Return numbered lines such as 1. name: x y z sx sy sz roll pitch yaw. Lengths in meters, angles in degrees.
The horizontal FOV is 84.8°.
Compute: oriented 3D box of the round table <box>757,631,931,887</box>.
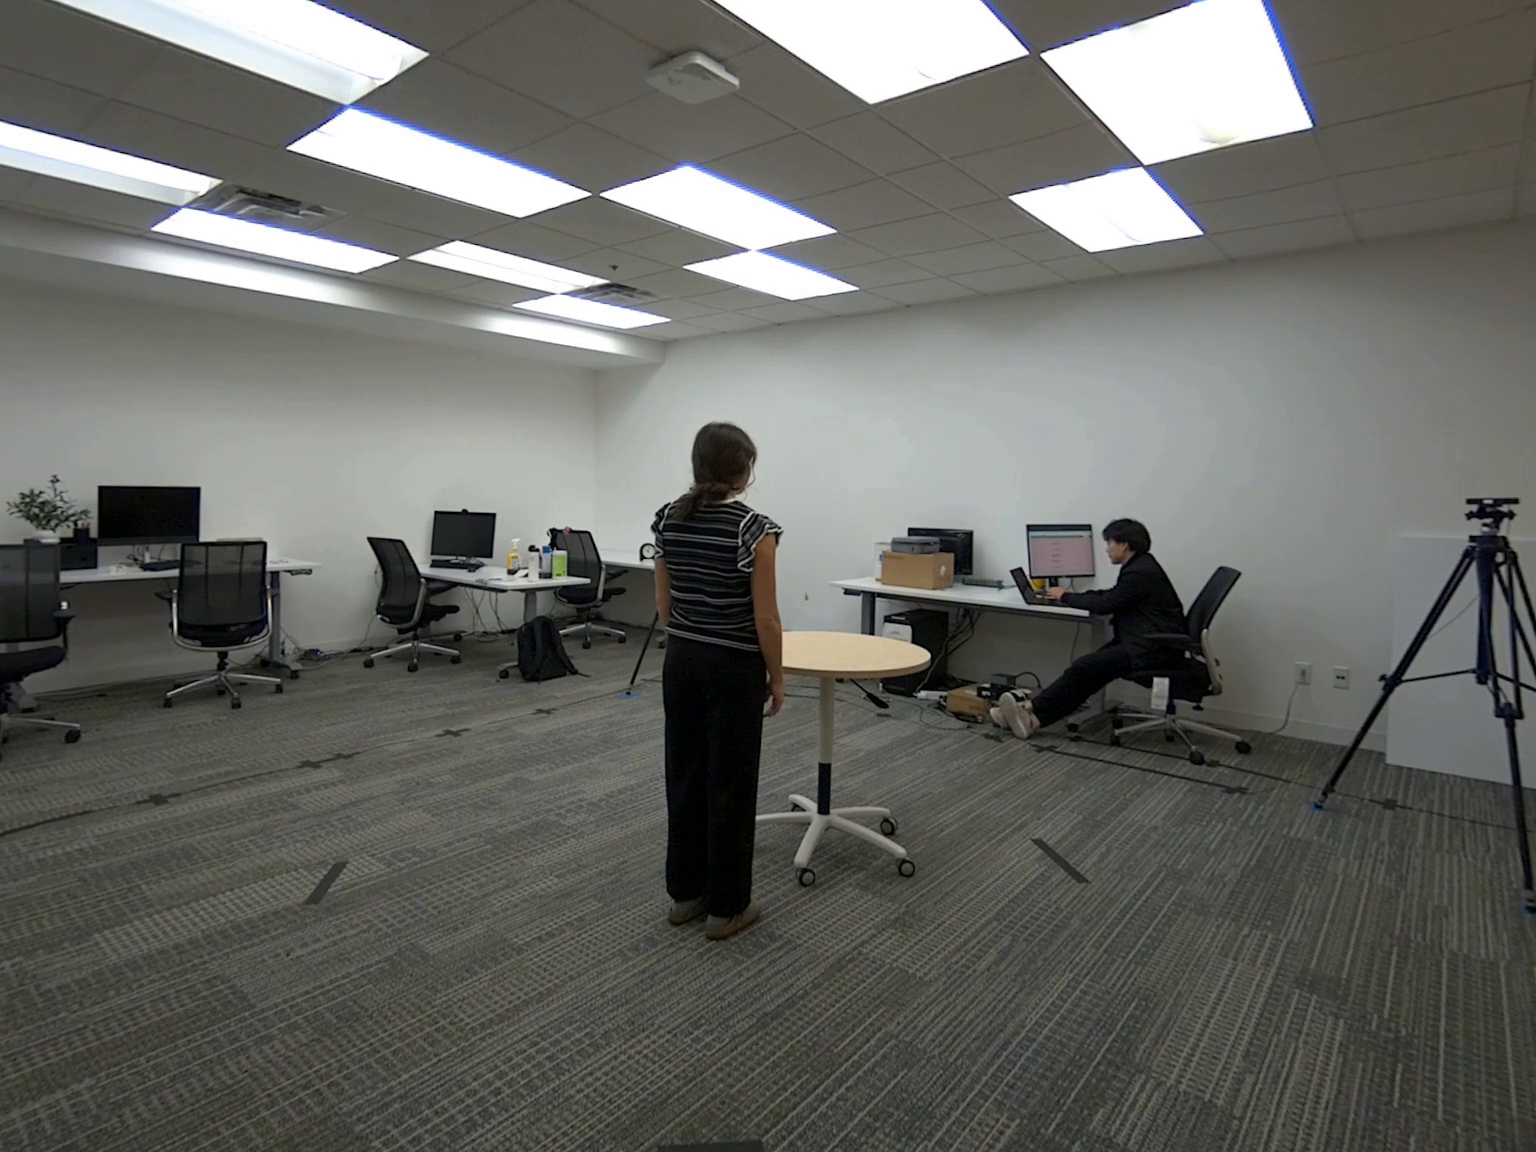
1. round table: 0.217 0.670 3.294 0.763 0.791 0.768 1 5 -2
